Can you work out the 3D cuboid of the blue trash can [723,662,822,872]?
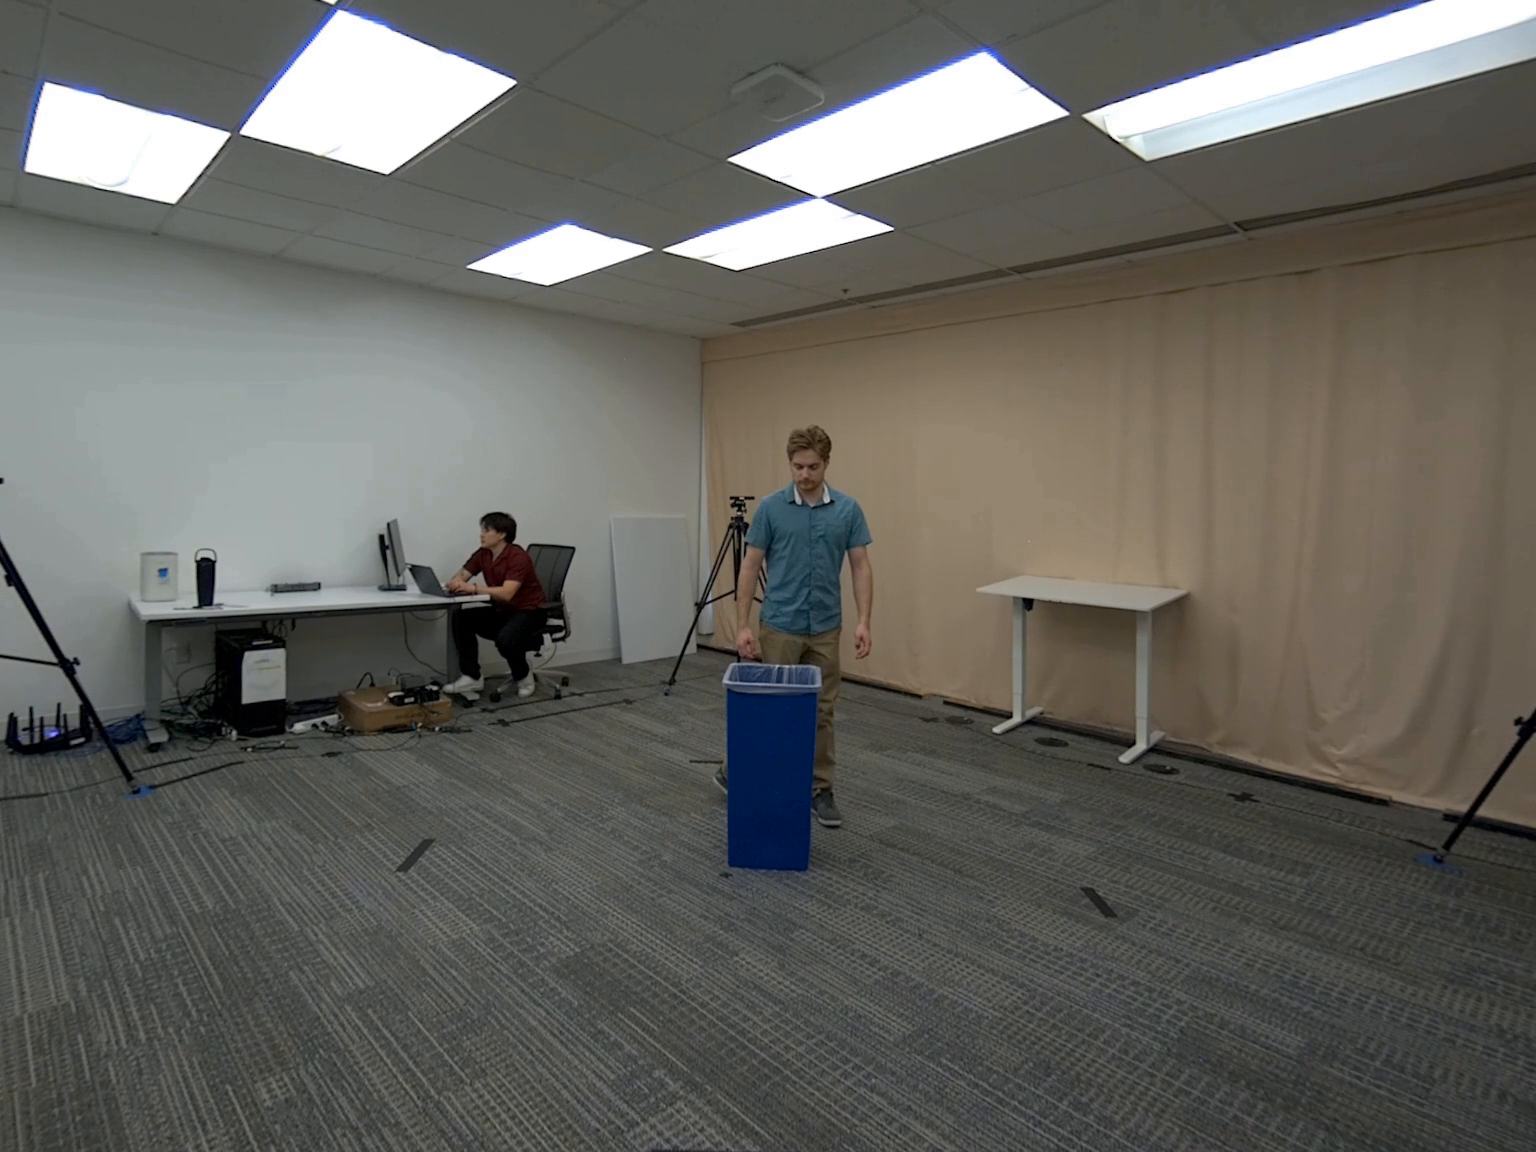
[{"bbox_3d":[-0.005,0.737,3.290,0.375,0.712,0.378,2,4,3],"label":"blue trash can"}]
